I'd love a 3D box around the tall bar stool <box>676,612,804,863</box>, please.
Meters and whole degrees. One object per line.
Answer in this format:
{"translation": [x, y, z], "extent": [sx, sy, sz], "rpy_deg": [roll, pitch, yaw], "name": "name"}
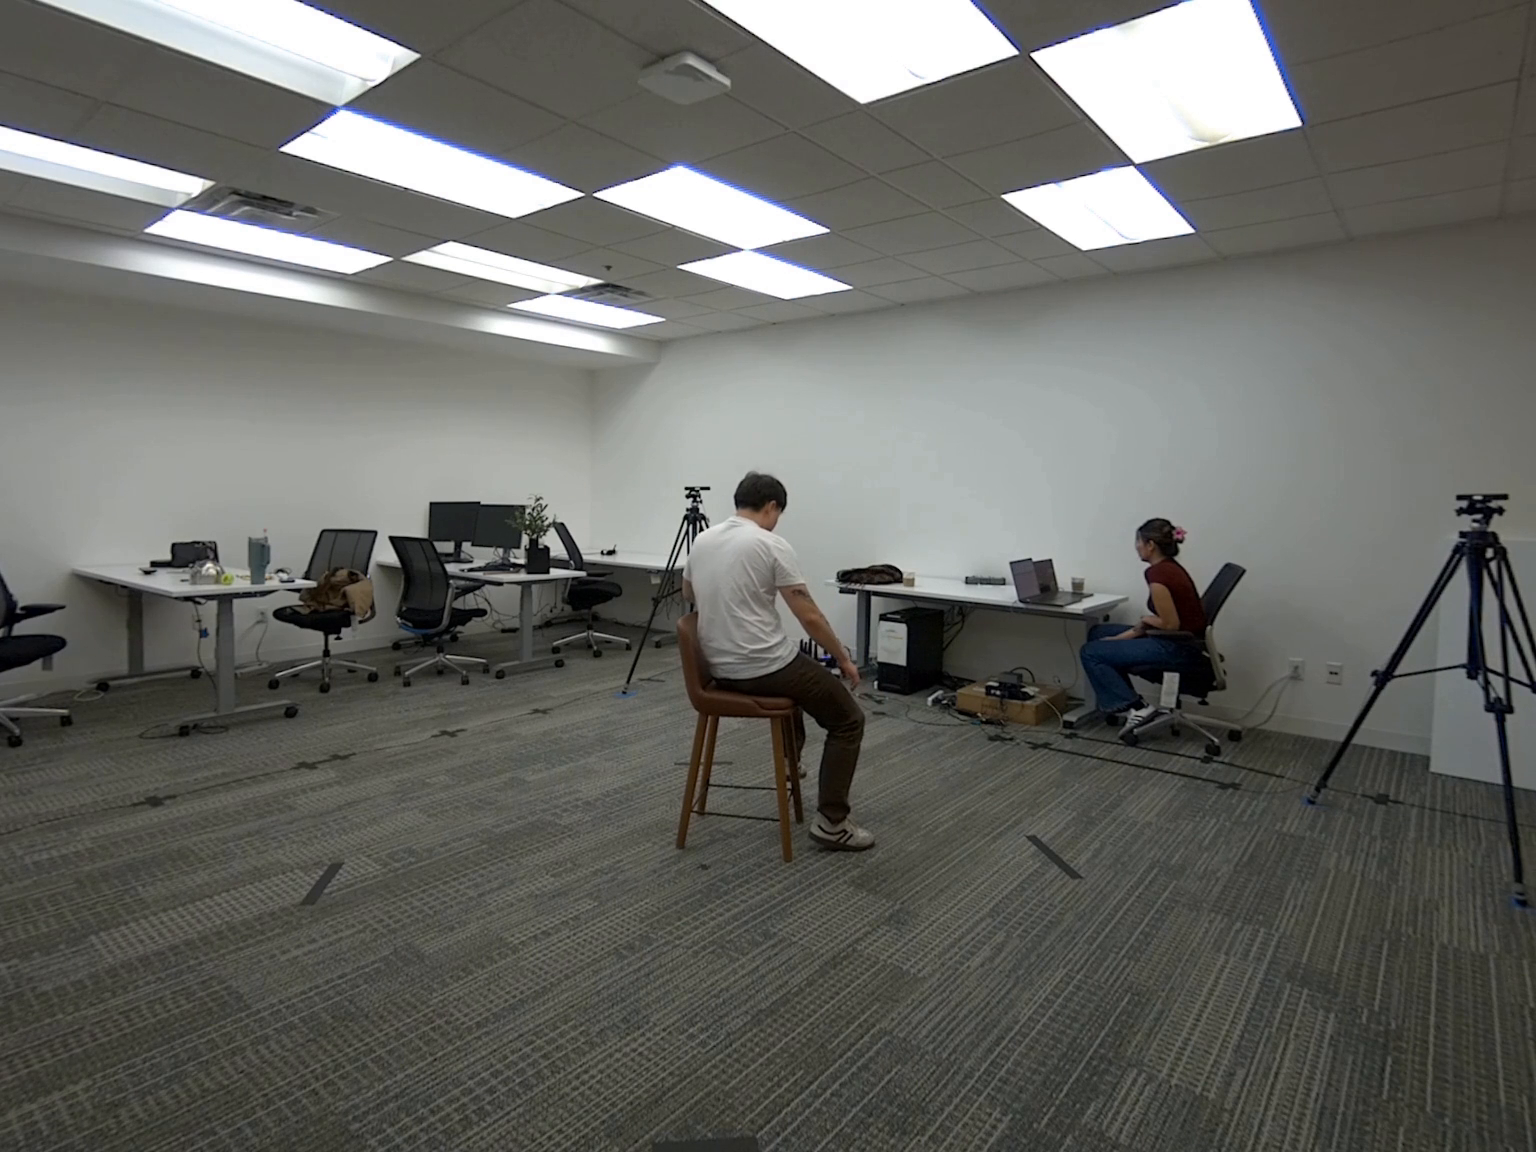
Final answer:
{"translation": [-0.116, 0.607, 3.394], "extent": [0.473, 0.888, 0.452], "rpy_deg": [-1, 2, 10], "name": "tall bar stool"}
